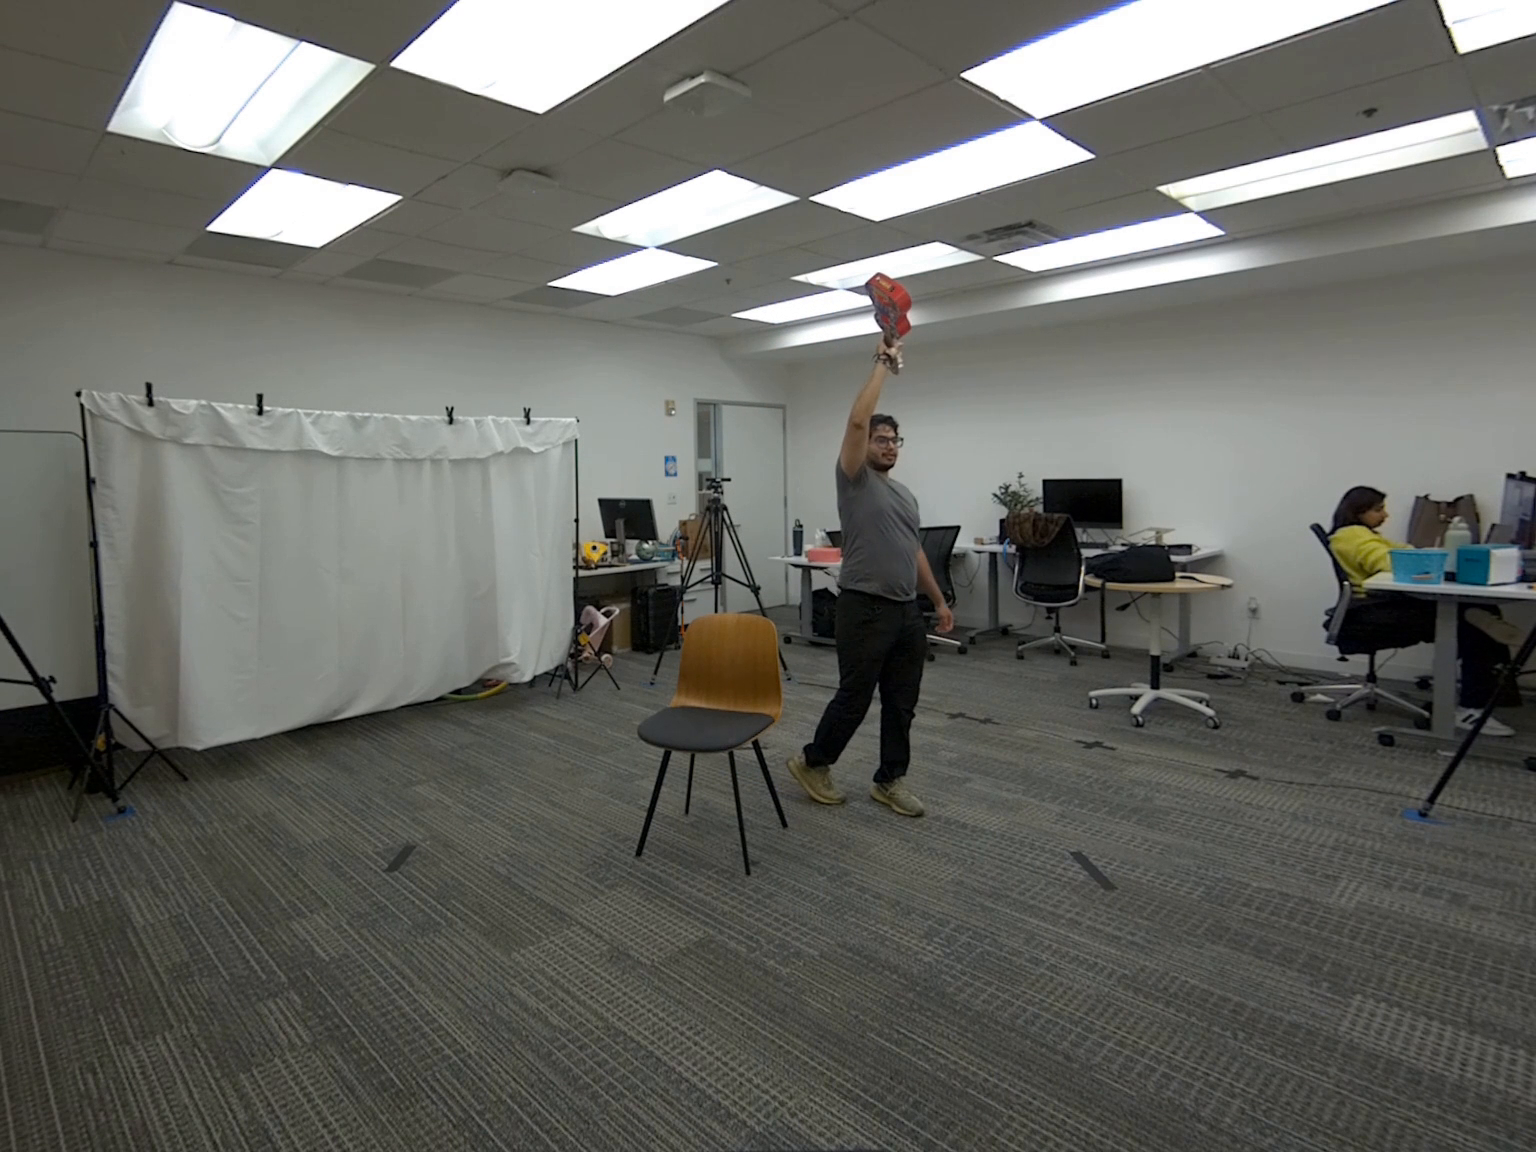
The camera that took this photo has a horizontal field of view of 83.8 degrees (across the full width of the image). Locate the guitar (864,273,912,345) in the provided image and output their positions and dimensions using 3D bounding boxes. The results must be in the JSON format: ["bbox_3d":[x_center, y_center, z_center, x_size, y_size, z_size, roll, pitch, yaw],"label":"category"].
[{"bbox_3d":[0.470,-0.986,3.355,0.070,0.198,0.485,-39,-20,-7],"label":"guitar"}]
